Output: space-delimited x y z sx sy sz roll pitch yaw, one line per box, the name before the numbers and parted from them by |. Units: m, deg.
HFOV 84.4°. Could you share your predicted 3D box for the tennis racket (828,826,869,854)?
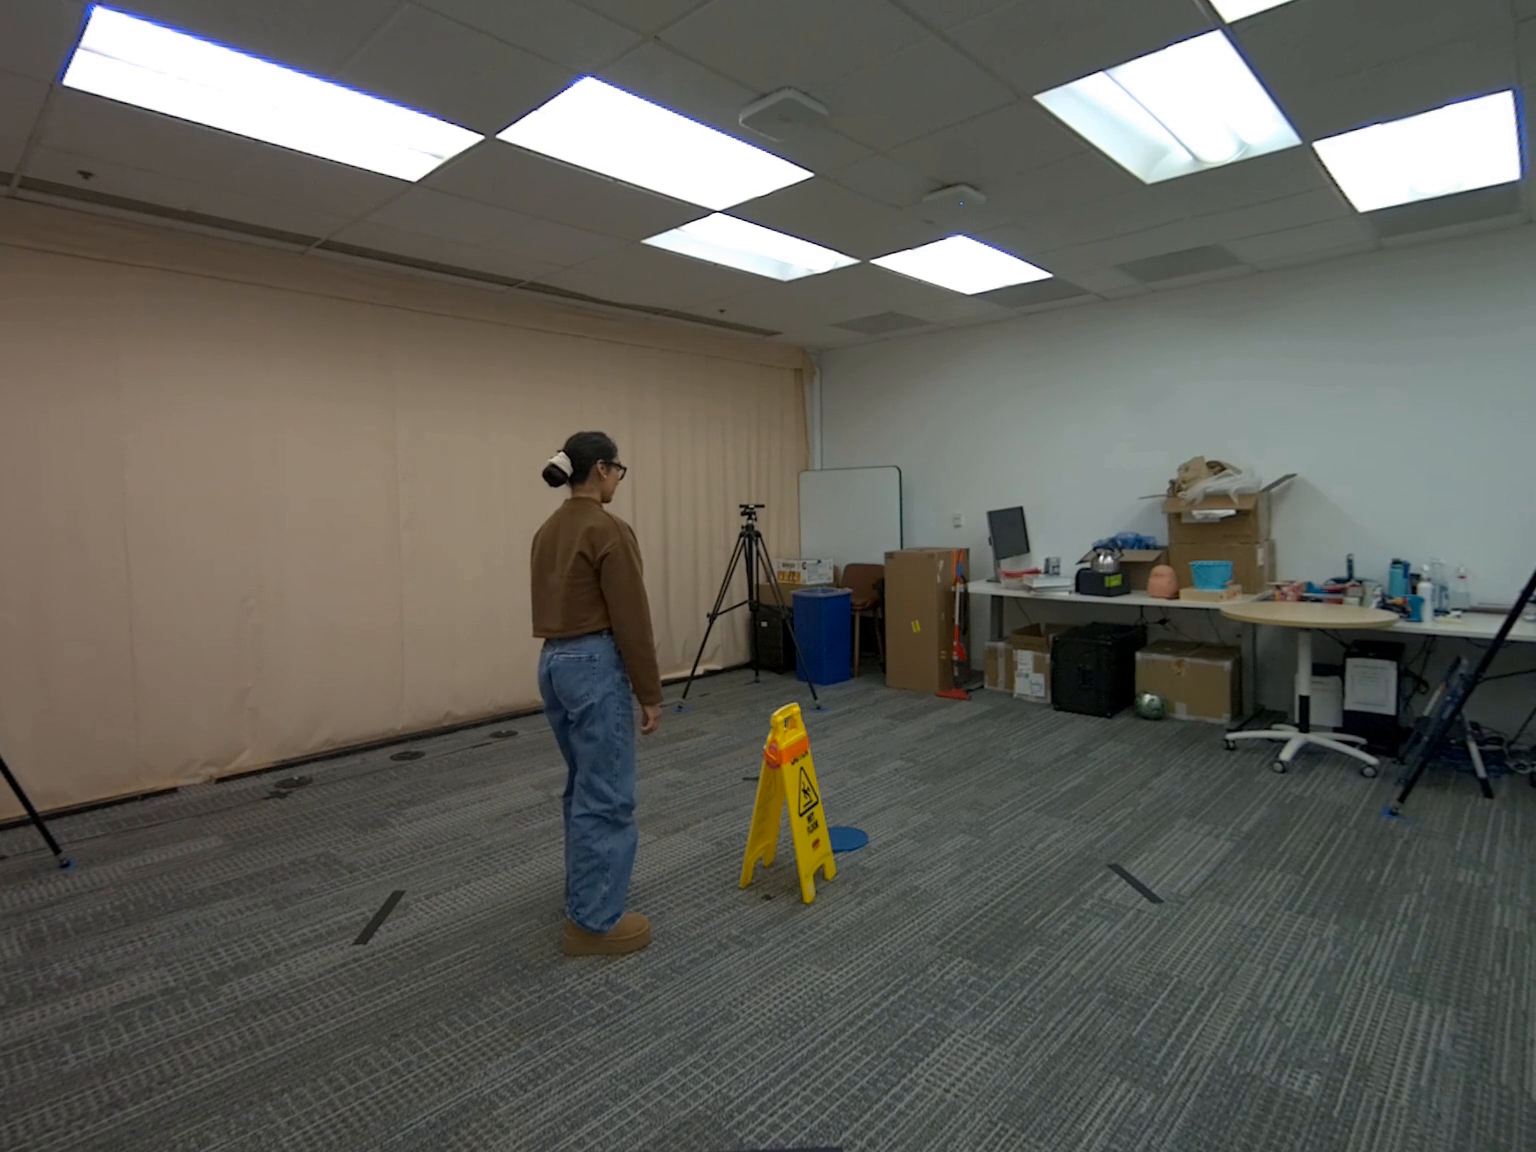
tennis racket | 0.258 1.083 3.402 0.220 0.032 0.421 2 4 32
